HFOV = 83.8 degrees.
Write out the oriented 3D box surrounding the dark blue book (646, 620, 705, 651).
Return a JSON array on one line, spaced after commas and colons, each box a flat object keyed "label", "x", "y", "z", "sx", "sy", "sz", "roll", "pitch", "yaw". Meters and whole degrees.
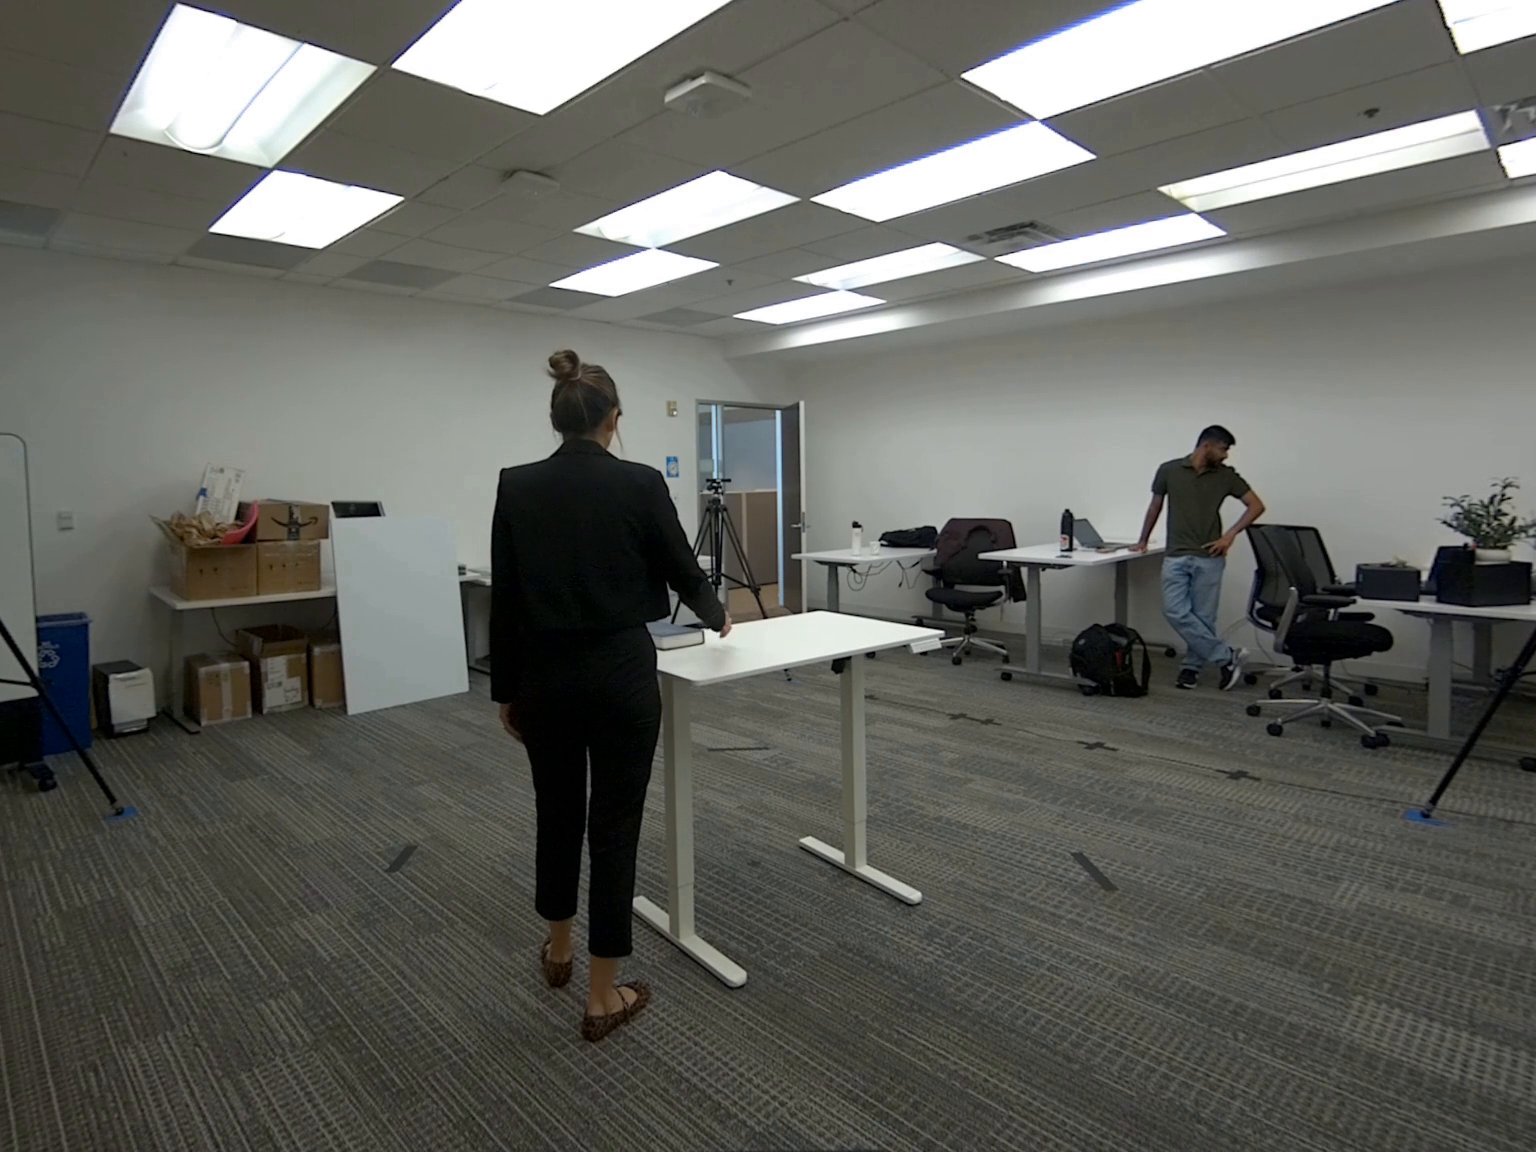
[{"label": "dark blue book", "x": -0.338, "y": 0.191, "z": 2.748, "sx": 0.159, "sy": 0.045, "sz": 0.252, "roll": -6, "pitch": 8, "yaw": -38}]
